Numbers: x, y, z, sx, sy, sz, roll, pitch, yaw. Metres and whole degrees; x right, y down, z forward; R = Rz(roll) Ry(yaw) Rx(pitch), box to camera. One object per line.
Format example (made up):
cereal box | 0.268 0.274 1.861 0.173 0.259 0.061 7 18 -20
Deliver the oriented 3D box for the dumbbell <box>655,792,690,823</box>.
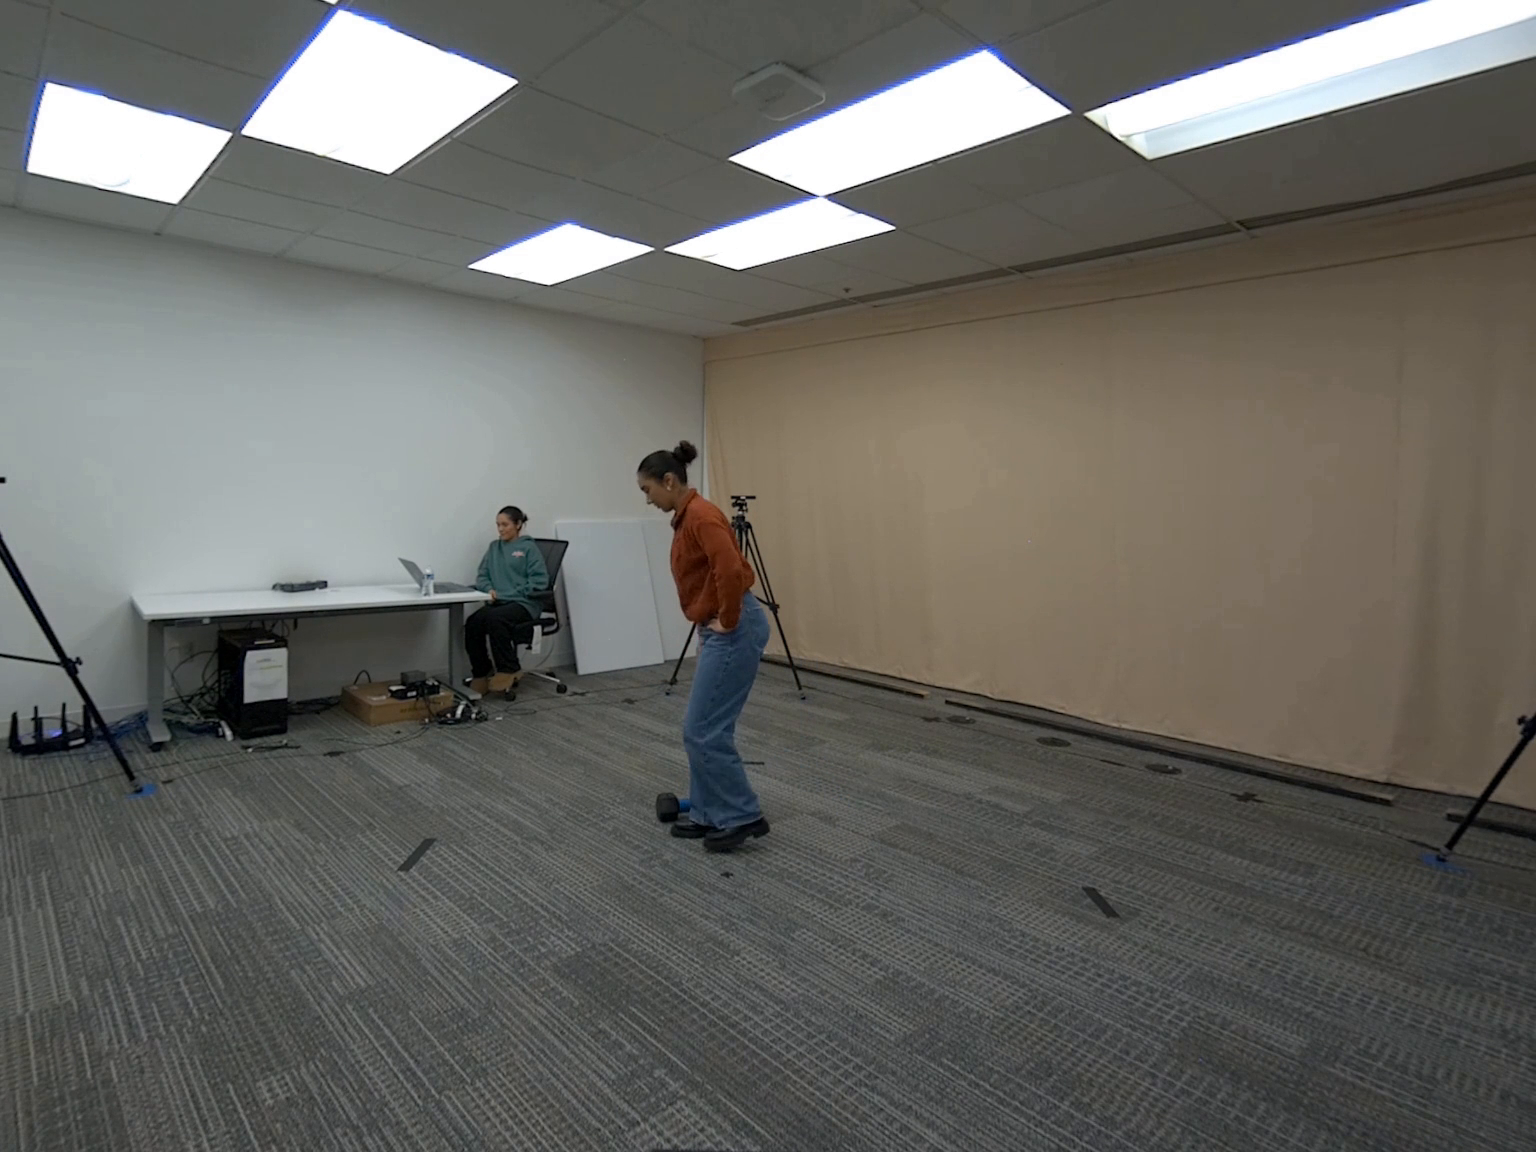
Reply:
dumbbell | -0.346 0.998 3.662 0.289 0.121 0.112 -1 35 -18
